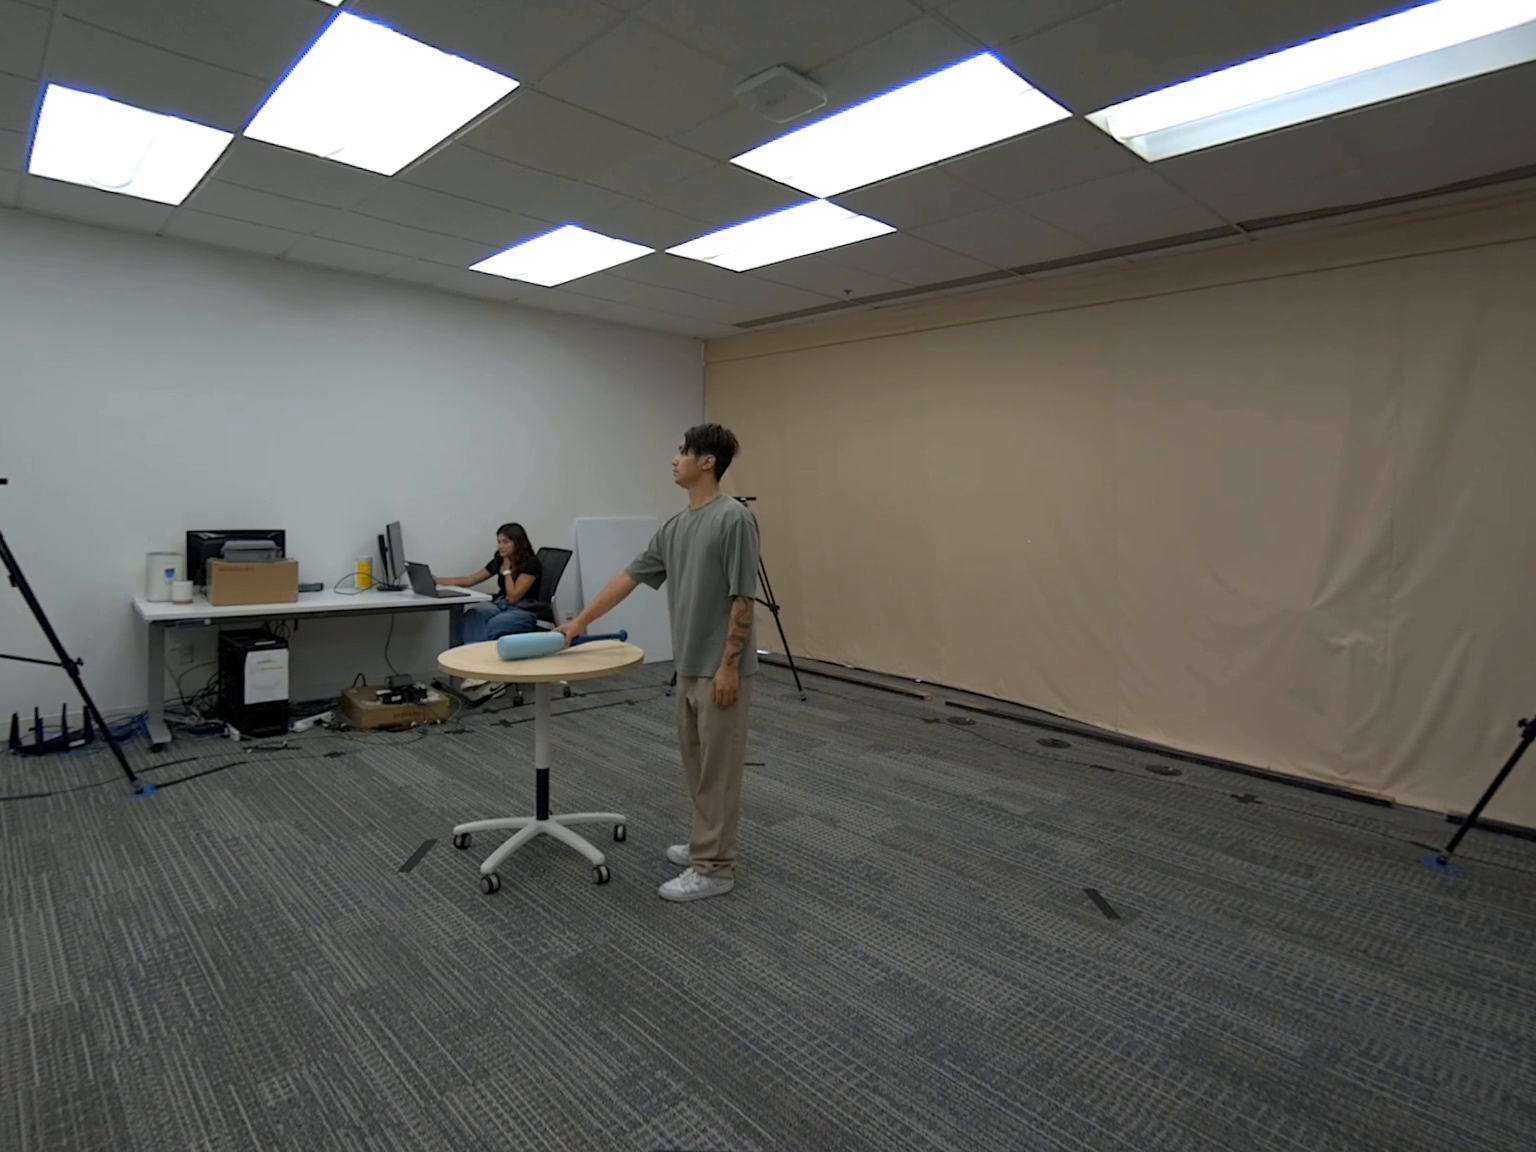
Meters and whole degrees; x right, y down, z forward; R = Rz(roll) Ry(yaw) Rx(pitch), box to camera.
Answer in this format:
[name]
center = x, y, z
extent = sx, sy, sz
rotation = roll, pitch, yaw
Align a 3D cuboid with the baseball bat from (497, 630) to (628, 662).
[baseball bat]
center = -0.778, 0.242, 3.228
extent = 0.531, 0.089, 0.091
rotation = -2, 6, -40
